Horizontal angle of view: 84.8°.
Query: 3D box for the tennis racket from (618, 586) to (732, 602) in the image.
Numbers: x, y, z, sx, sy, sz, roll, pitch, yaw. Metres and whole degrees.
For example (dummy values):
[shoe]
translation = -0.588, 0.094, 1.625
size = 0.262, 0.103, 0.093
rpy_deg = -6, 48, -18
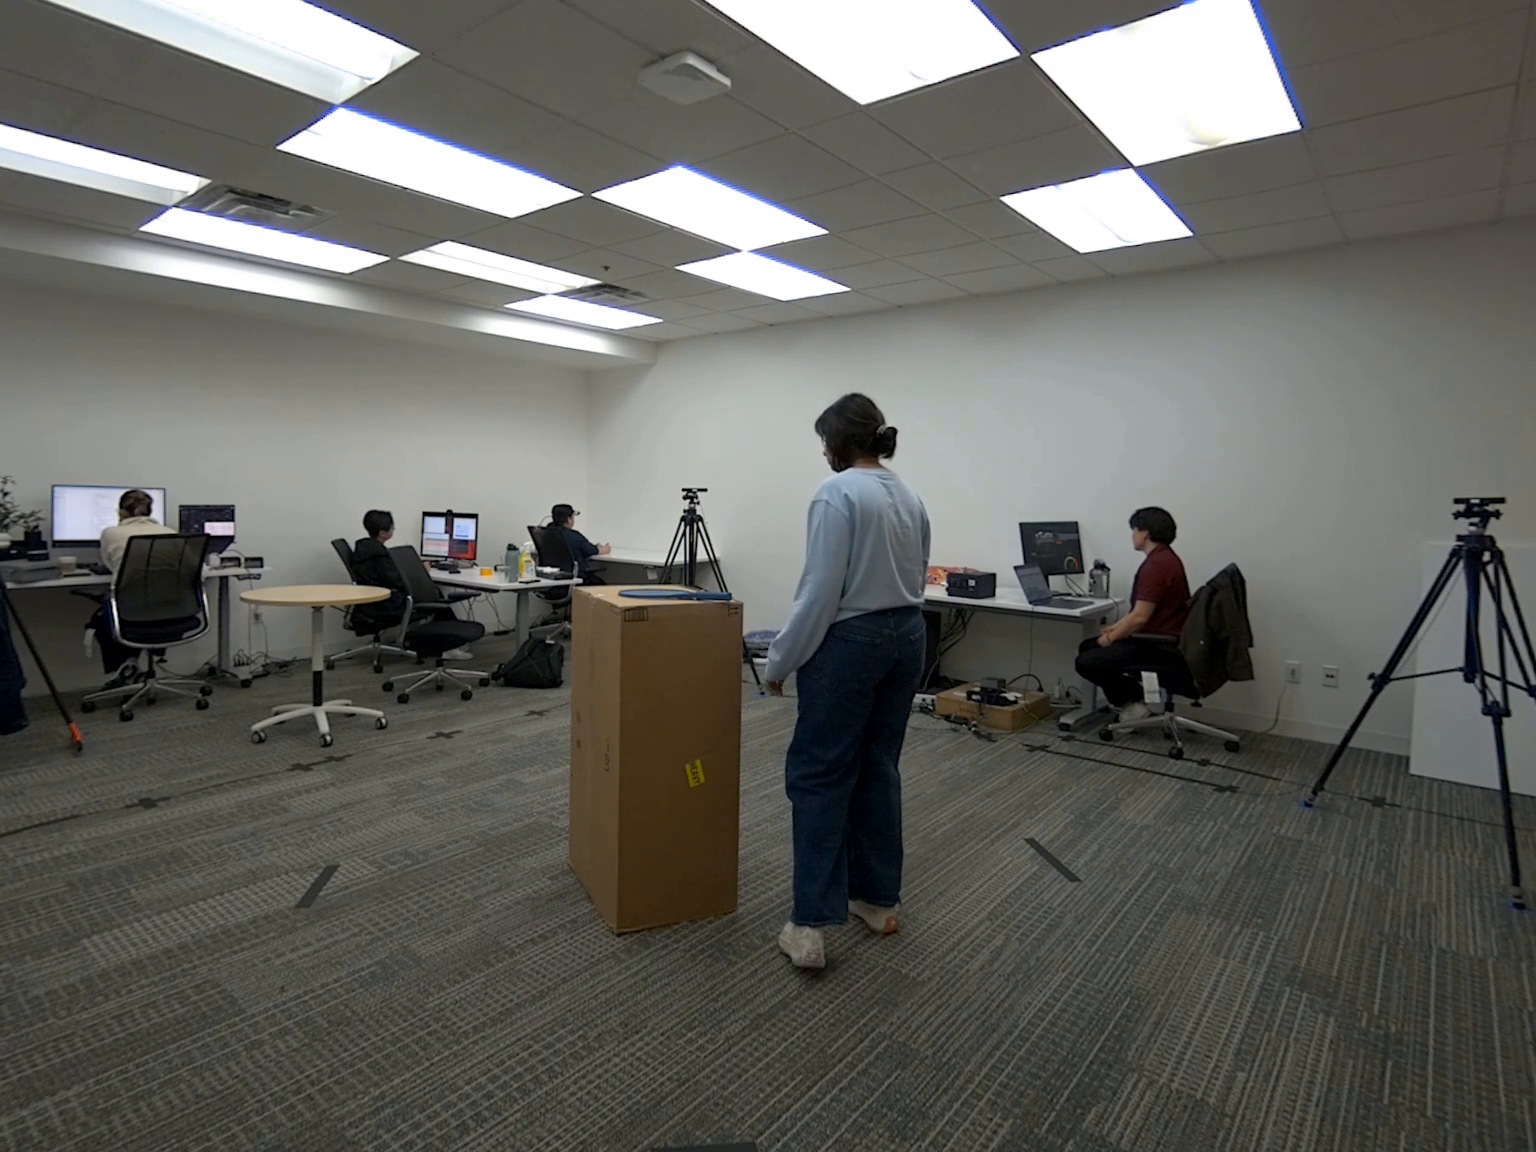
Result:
[tennis racket]
translation = -0.337, 0.062, 2.854
size = 0.445, 0.031, 0.208
rpy_deg = 2, 5, 29
